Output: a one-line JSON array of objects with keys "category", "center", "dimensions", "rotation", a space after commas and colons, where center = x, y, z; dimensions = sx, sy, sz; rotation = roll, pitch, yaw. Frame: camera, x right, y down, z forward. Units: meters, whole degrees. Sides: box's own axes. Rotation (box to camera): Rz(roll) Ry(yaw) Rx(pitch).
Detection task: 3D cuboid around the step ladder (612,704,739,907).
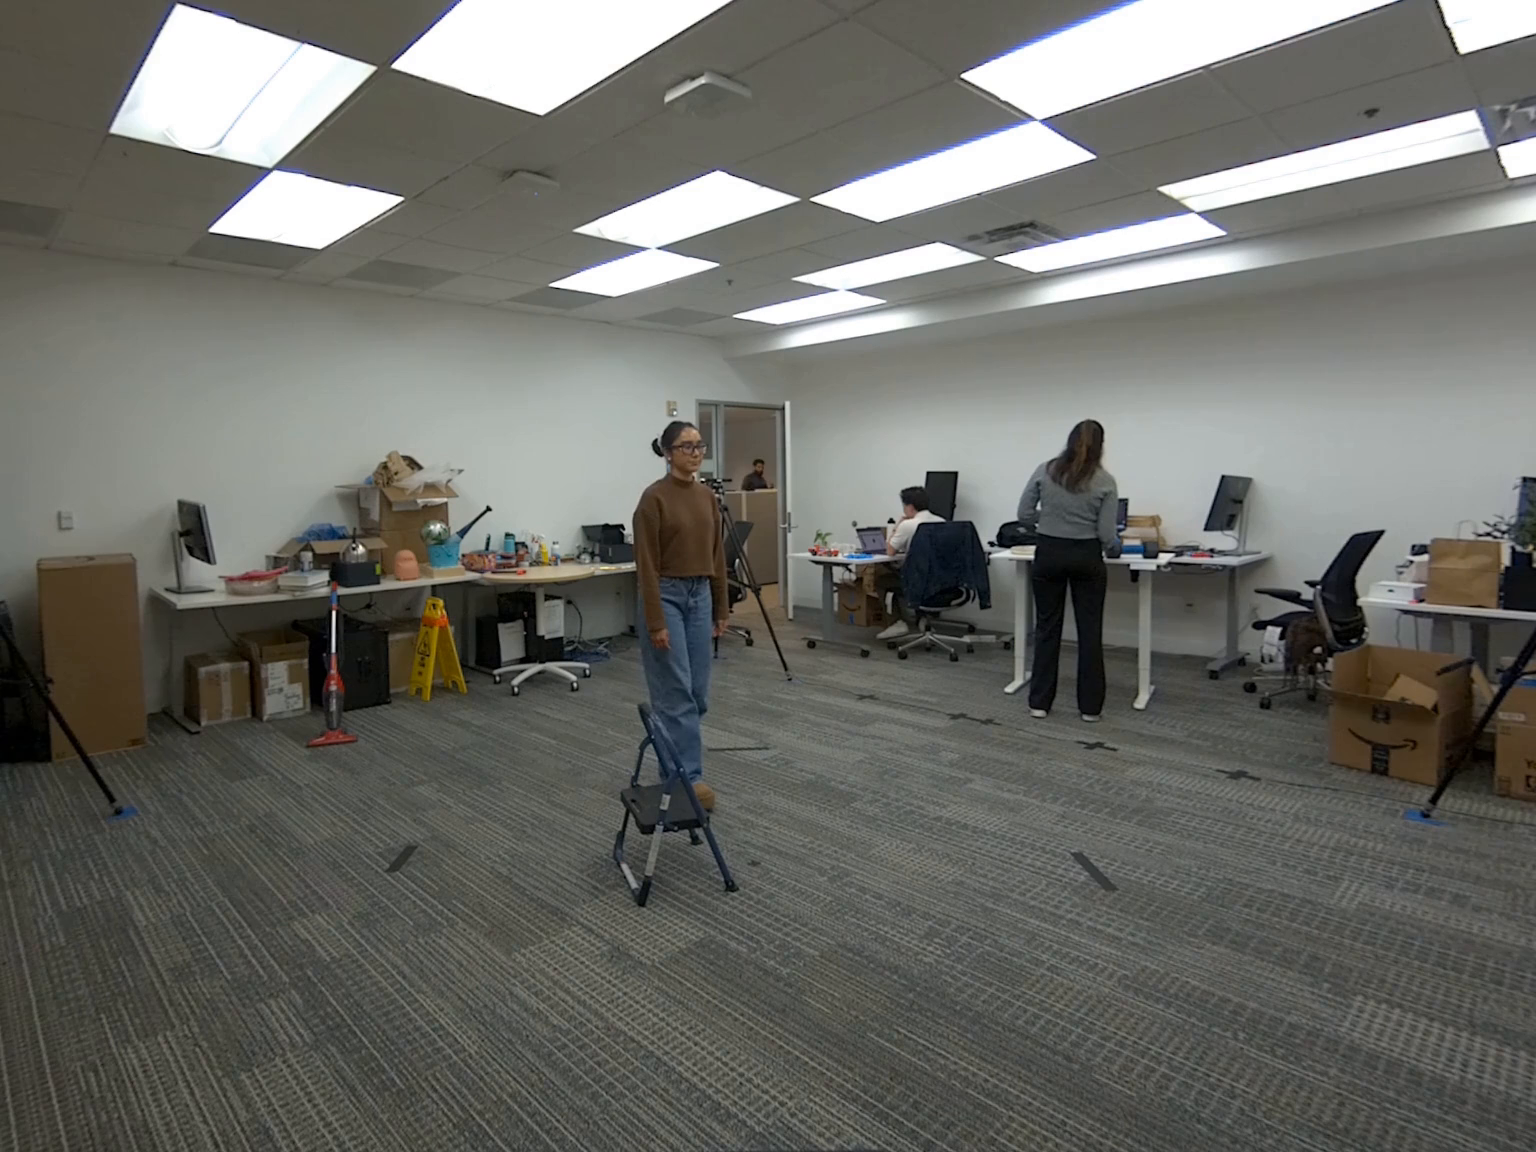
[{"category": "step ladder", "center": [-0.347, 0.761, 3.028], "dimensions": [0.343, 0.604, 0.440], "rotation": [-2, 5, -21]}]
